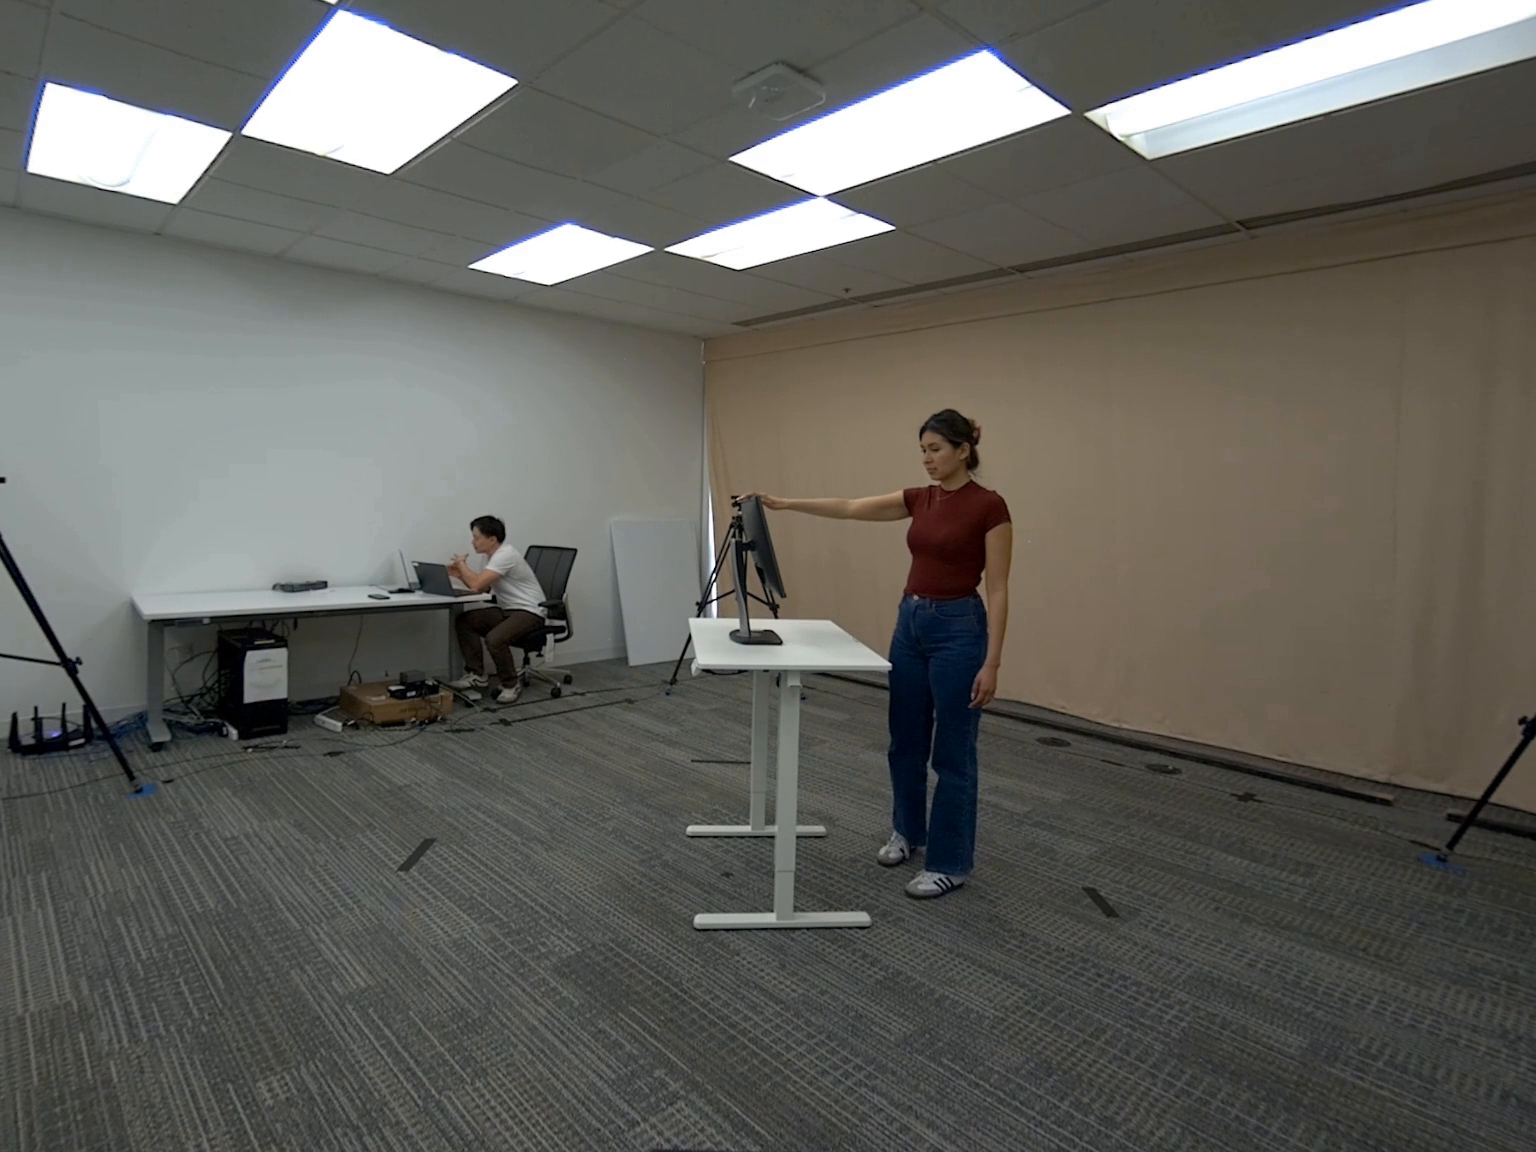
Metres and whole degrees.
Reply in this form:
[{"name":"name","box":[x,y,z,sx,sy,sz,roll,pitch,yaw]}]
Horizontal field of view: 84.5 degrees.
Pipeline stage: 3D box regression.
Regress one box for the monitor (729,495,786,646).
[{"name":"monitor","box":[-0.057,-0.024,3.035,0.186,0.521,0.544,-1,3,-9]}]
